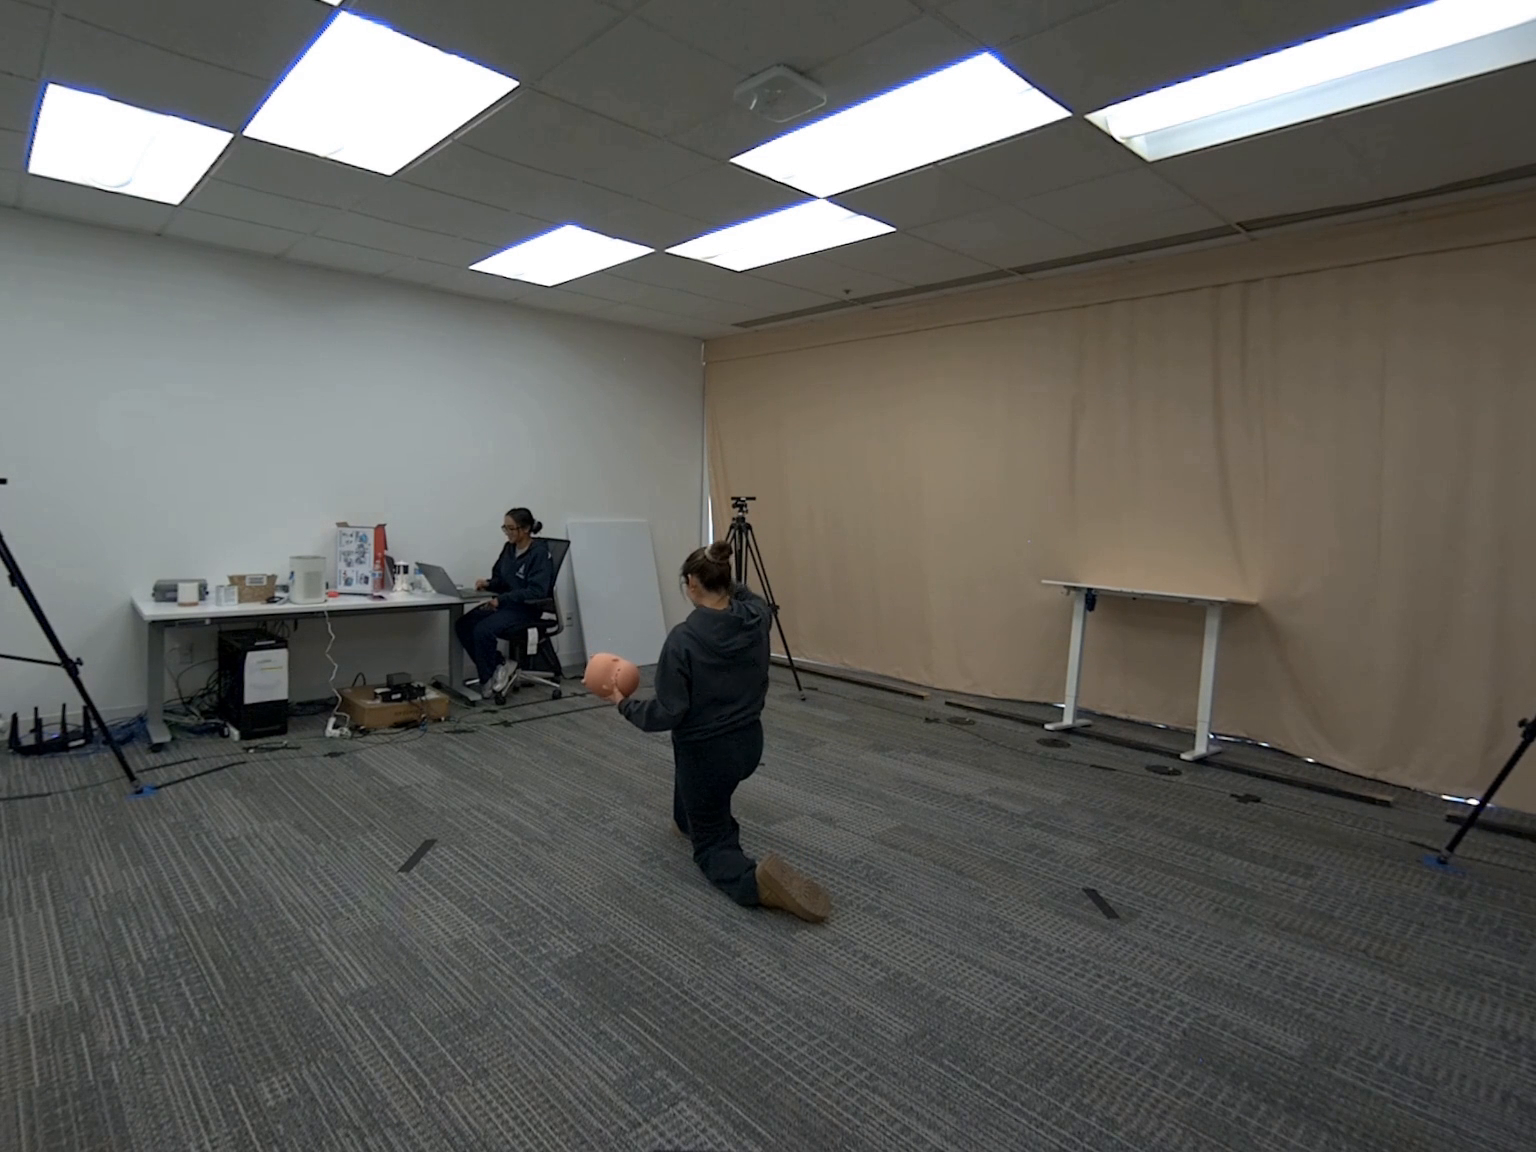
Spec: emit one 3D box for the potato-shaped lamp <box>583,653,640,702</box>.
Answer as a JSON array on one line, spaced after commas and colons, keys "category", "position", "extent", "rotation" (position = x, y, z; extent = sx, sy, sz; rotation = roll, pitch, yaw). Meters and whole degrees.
[{"category": "potato-shaped lamp", "position": [-0.590, 0.388, 3.219], "extent": [0.202, 0.166, 0.166], "rotation": [6, -25, 22]}]
